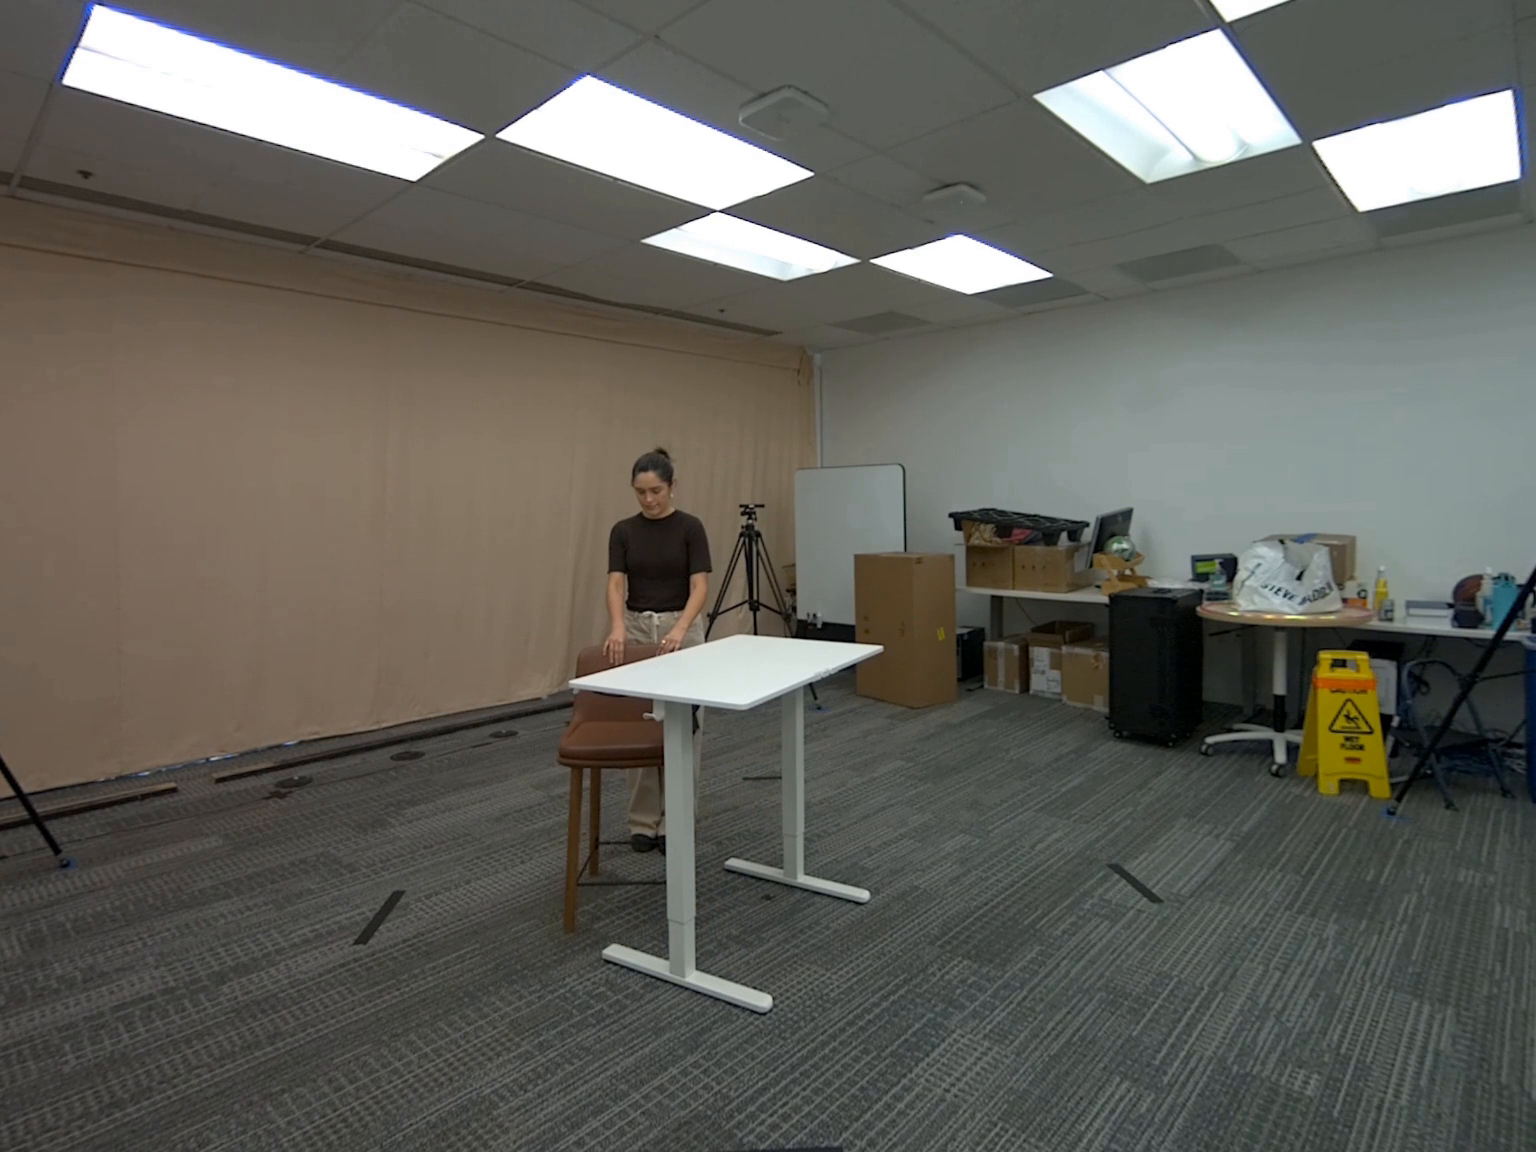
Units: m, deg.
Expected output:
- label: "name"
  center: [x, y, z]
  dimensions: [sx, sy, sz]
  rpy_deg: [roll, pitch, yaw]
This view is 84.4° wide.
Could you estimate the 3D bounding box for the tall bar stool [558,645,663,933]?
- label: "tall bar stool"
  center: [-0.484, 0.706, 2.973]
  dimensions: [0.456, 0.889, 0.468]
  rpy_deg: [-1, 1, -1]
